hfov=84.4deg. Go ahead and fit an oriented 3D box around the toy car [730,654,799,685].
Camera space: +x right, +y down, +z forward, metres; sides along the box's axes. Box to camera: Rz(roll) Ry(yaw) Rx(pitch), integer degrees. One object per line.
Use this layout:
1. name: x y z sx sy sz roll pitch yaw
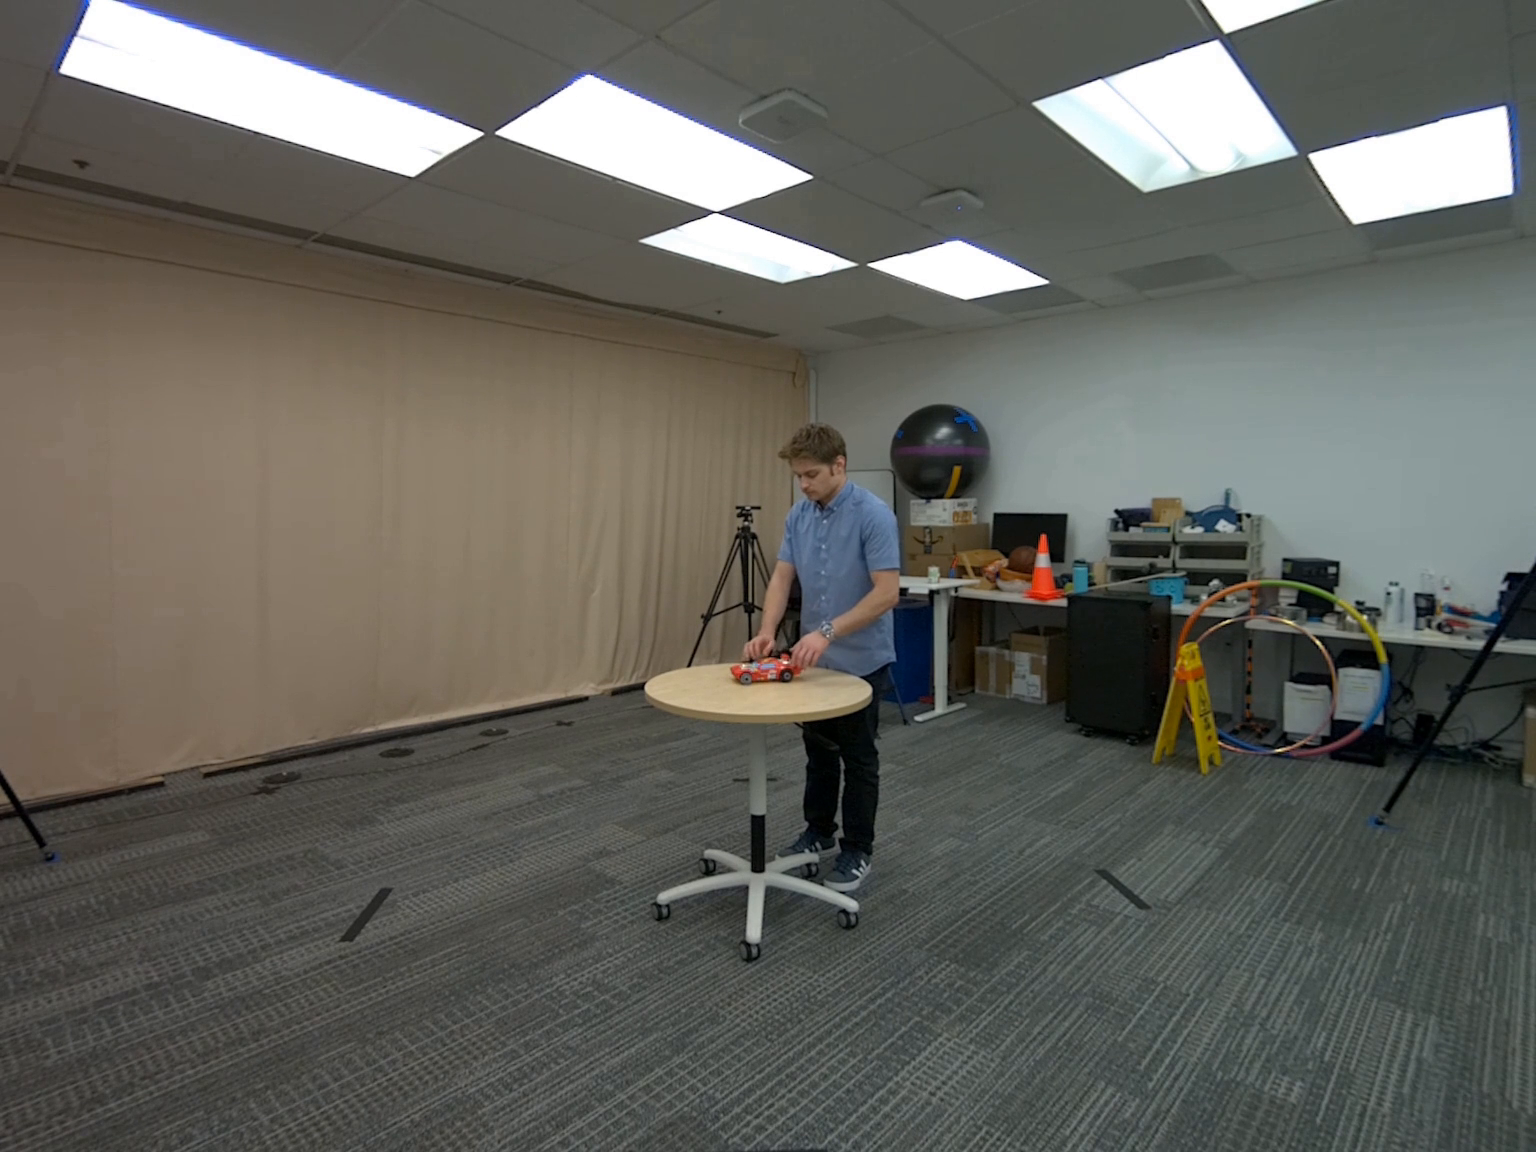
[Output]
1. toy car: 0.001 0.331 2.933 0.251 0.083 0.133 -13 8 -13
